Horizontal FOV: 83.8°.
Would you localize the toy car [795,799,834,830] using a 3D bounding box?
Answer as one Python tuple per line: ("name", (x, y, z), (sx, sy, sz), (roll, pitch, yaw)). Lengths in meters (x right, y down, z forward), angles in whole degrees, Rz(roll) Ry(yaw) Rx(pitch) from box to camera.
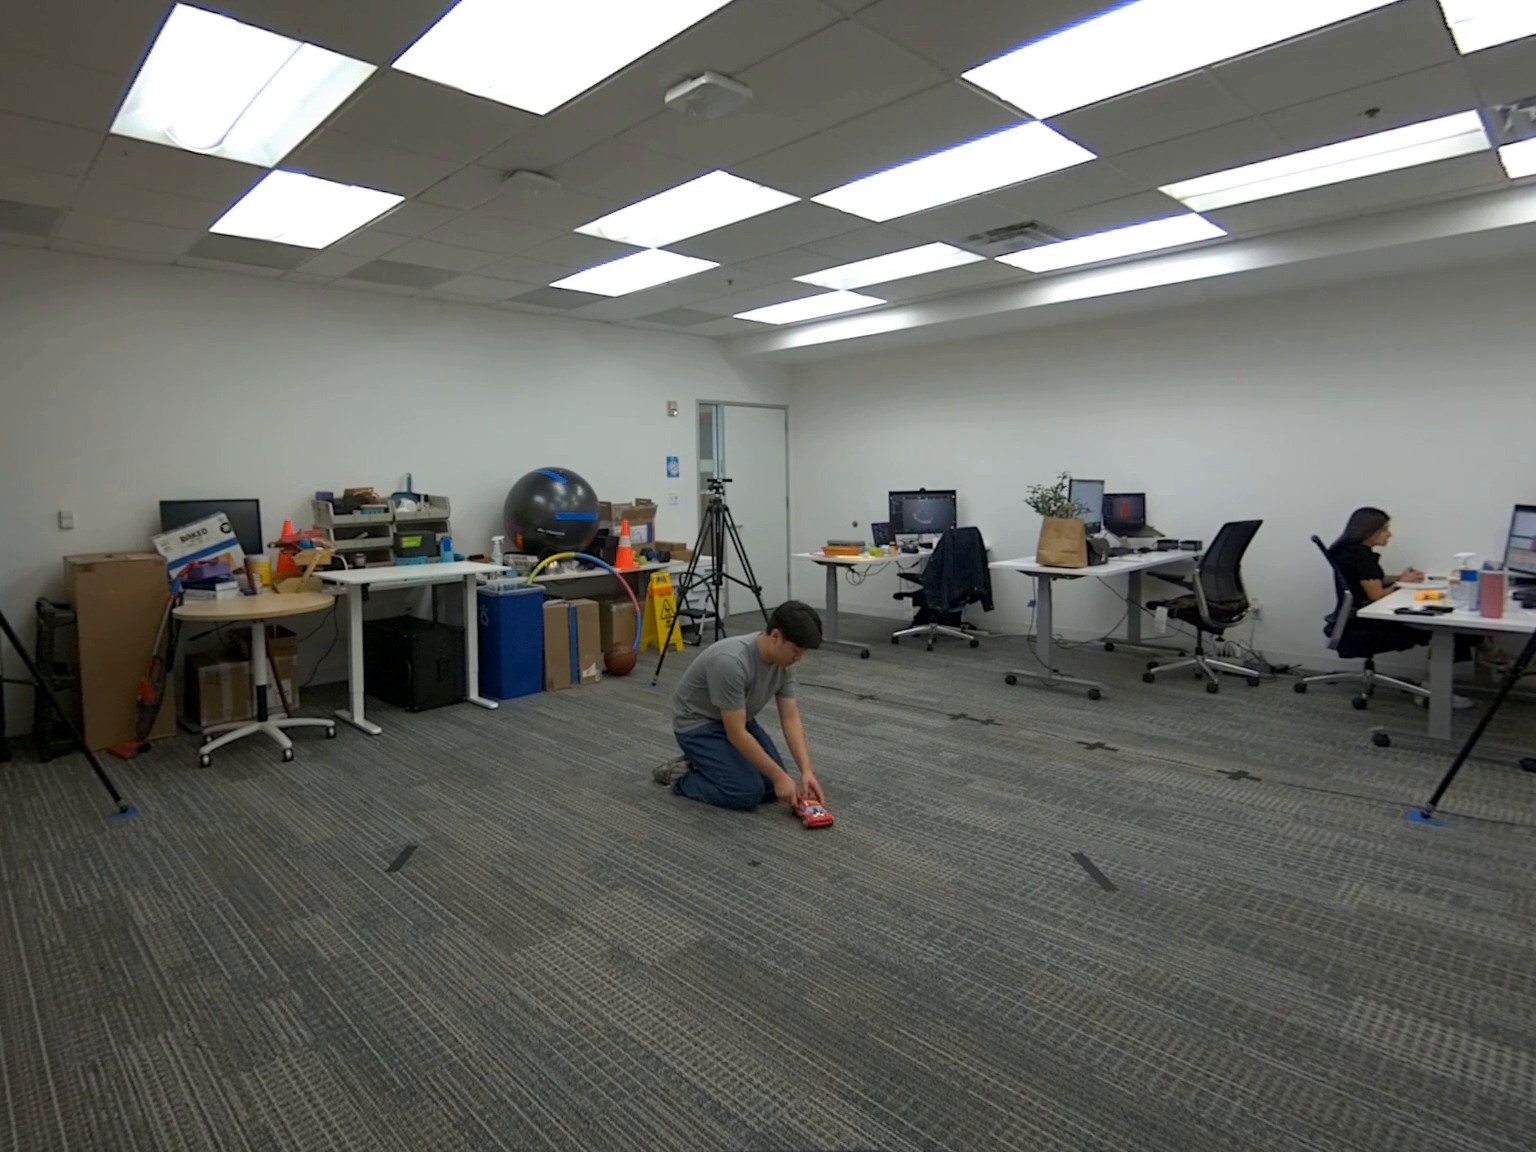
("toy car", (0.174, 0.967, 3.507), (0.128, 0.082, 0.261), (-3, 16, -16))
